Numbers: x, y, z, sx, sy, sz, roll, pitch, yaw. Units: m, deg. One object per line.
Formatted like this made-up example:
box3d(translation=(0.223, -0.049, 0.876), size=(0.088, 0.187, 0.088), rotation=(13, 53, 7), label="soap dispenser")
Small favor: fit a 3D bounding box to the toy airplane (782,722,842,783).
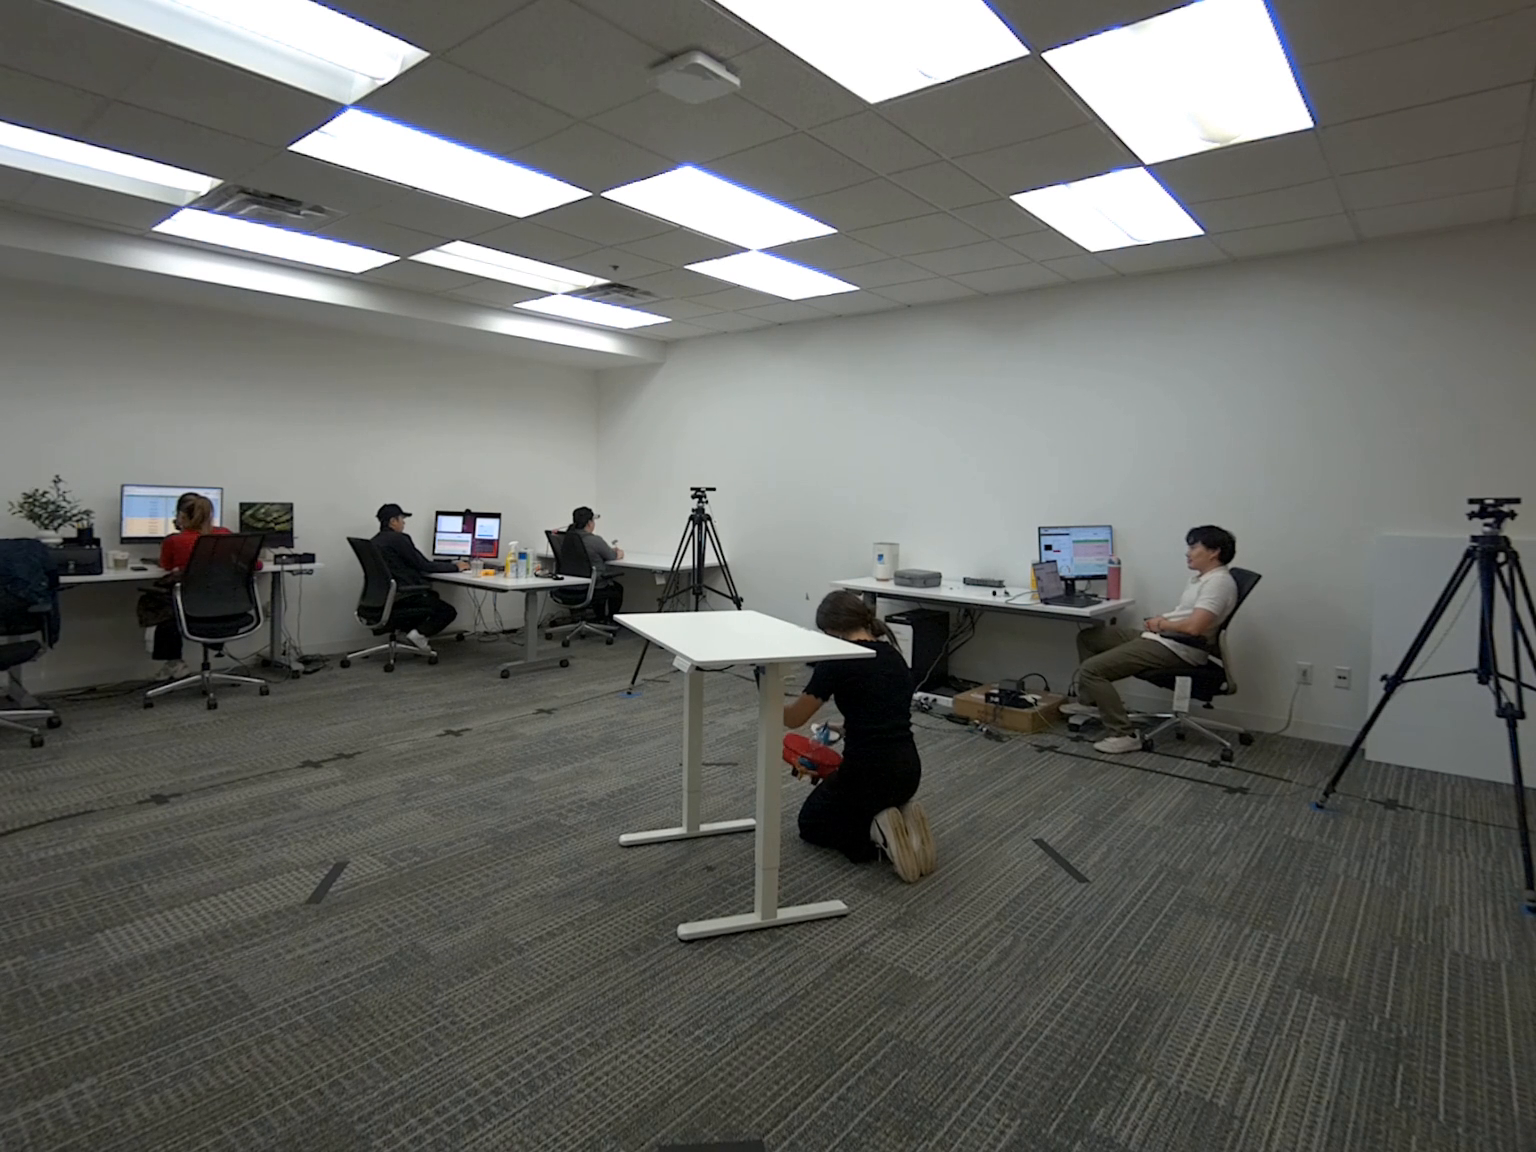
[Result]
box3d(translation=(0.159, 0.711, 3.475), size=(0.252, 0.267, 0.151), rotation=(-2, -39, 2), label="toy airplane")
